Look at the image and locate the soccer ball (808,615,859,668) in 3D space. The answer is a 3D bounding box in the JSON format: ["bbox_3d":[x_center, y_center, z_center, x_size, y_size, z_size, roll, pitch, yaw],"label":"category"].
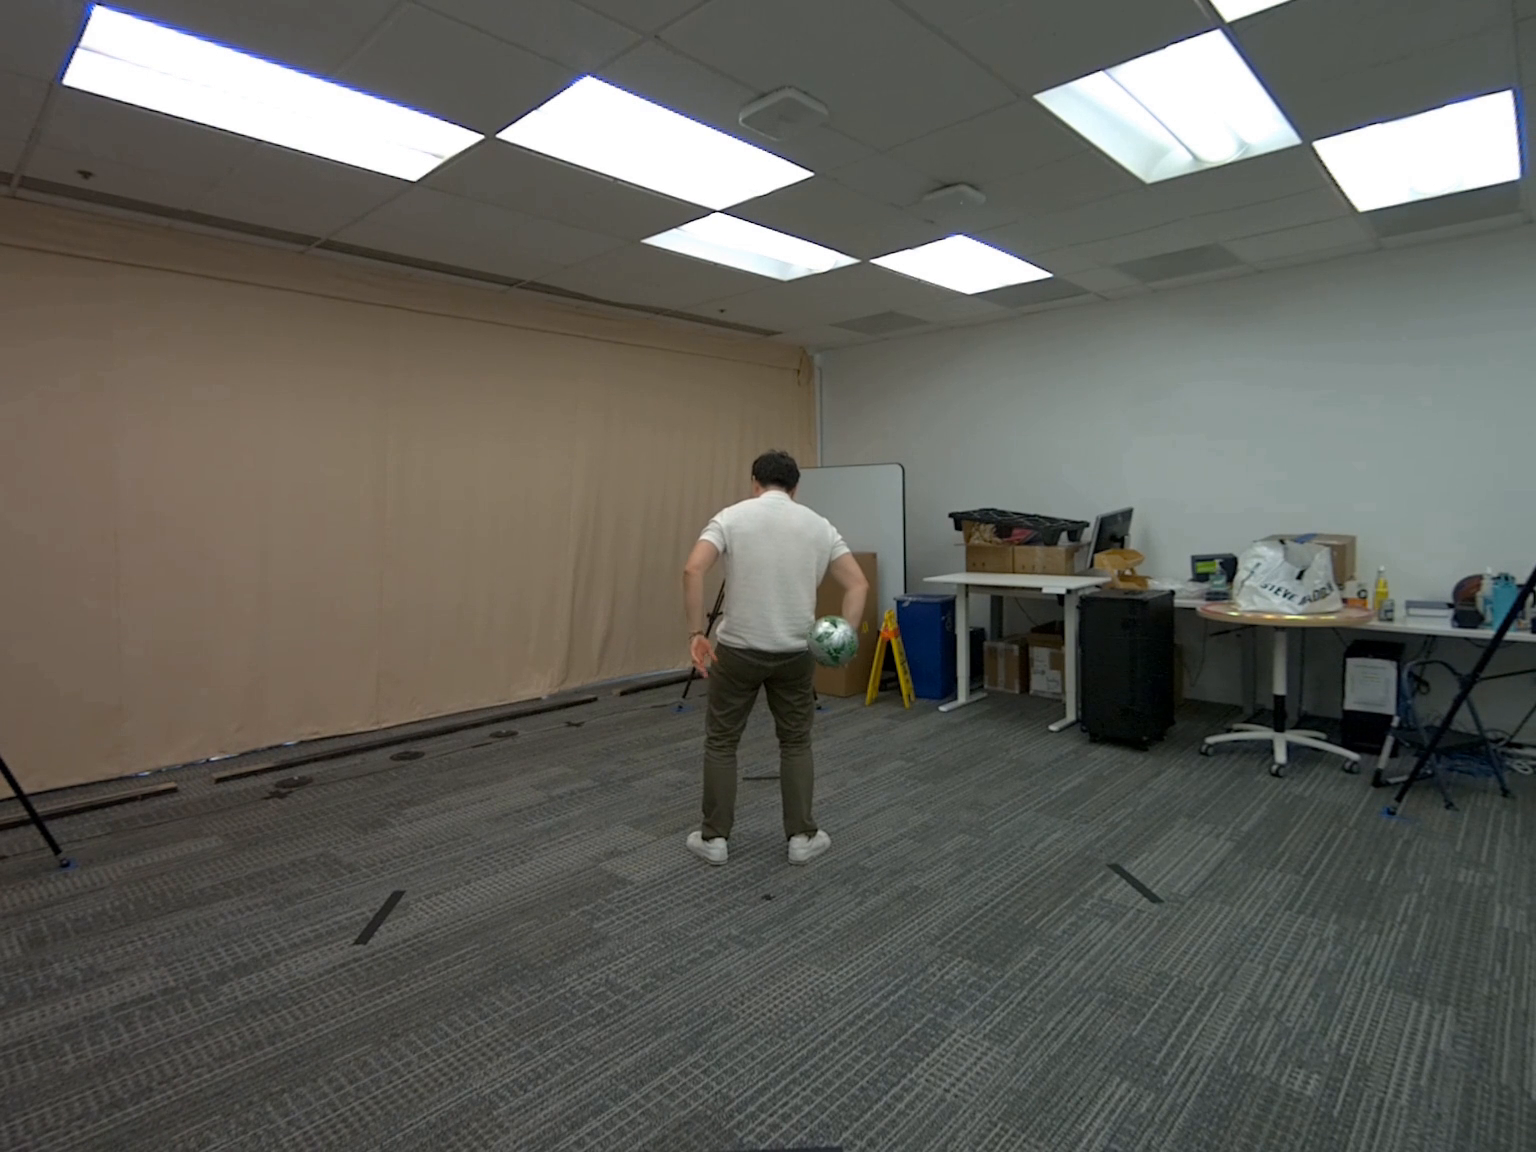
[{"bbox_3d":[0.231,0.238,3.071,0.187,0.187,0.188,-1,4,-2],"label":"soccer ball"}]
